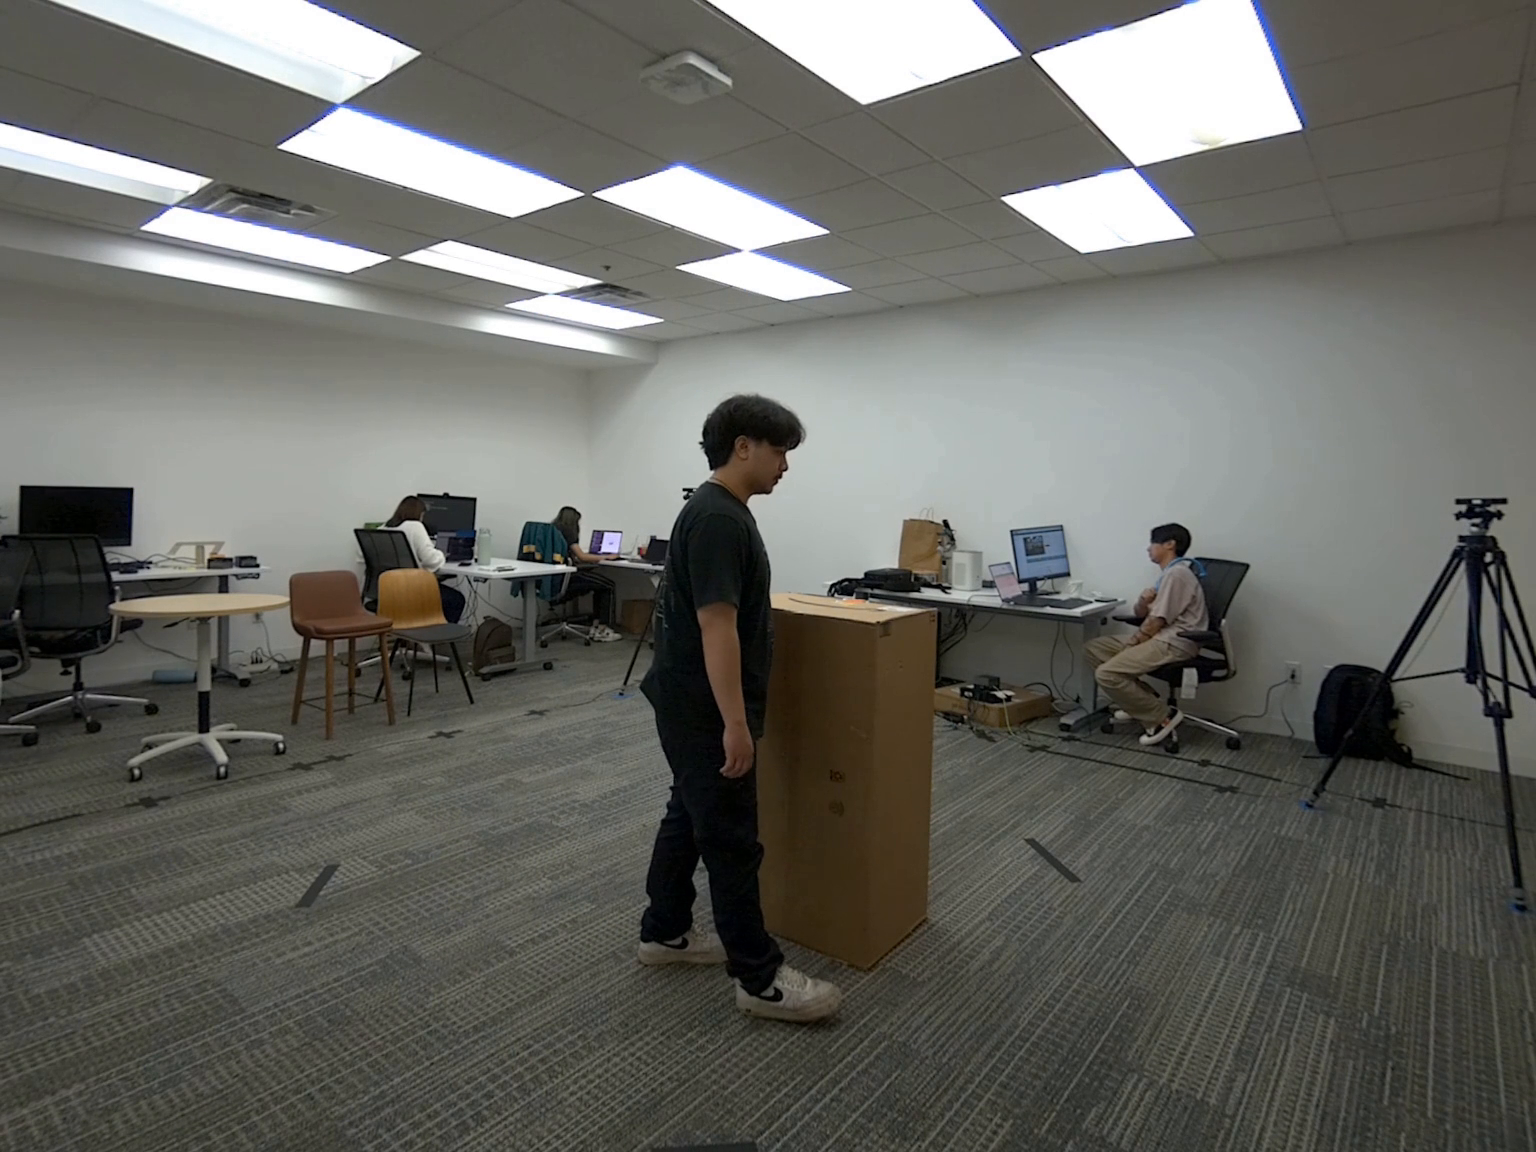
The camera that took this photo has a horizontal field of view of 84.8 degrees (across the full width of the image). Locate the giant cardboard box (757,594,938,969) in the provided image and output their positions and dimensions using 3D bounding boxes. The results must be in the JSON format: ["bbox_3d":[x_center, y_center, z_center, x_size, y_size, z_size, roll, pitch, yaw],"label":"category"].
[{"bbox_3d":[0.180,0.600,2.783,0.603,1.024,0.433,4,3,37],"label":"giant cardboard box"}]
